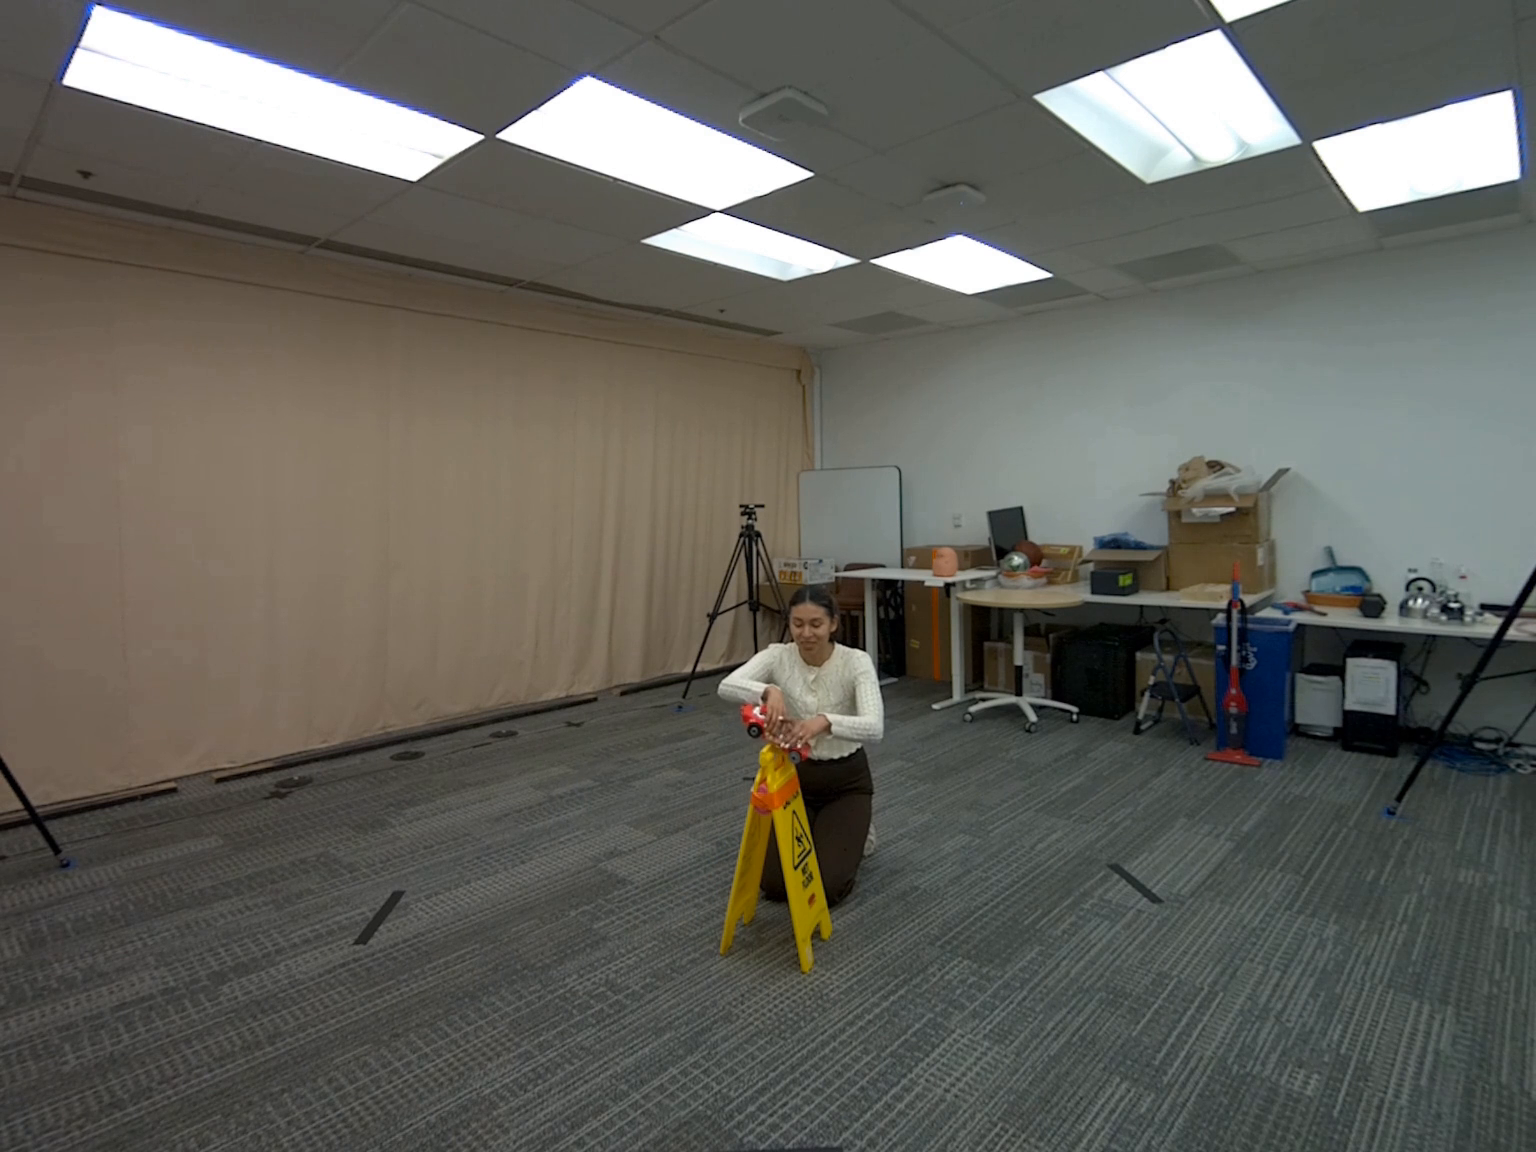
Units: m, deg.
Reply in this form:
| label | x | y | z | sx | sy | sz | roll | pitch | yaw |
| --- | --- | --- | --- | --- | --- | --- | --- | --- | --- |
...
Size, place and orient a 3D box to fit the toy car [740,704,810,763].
| label | x | y | z | sx | sy | sz | roll | pitch | yaw |
| --- | --- | --- | --- | --- | --- | --- | --- | --- | --- |
| toy car | 0.023 | 0.493 | 2.661 | 0.255 | 0.083 | 0.129 | 42 | 14 | 2 |
